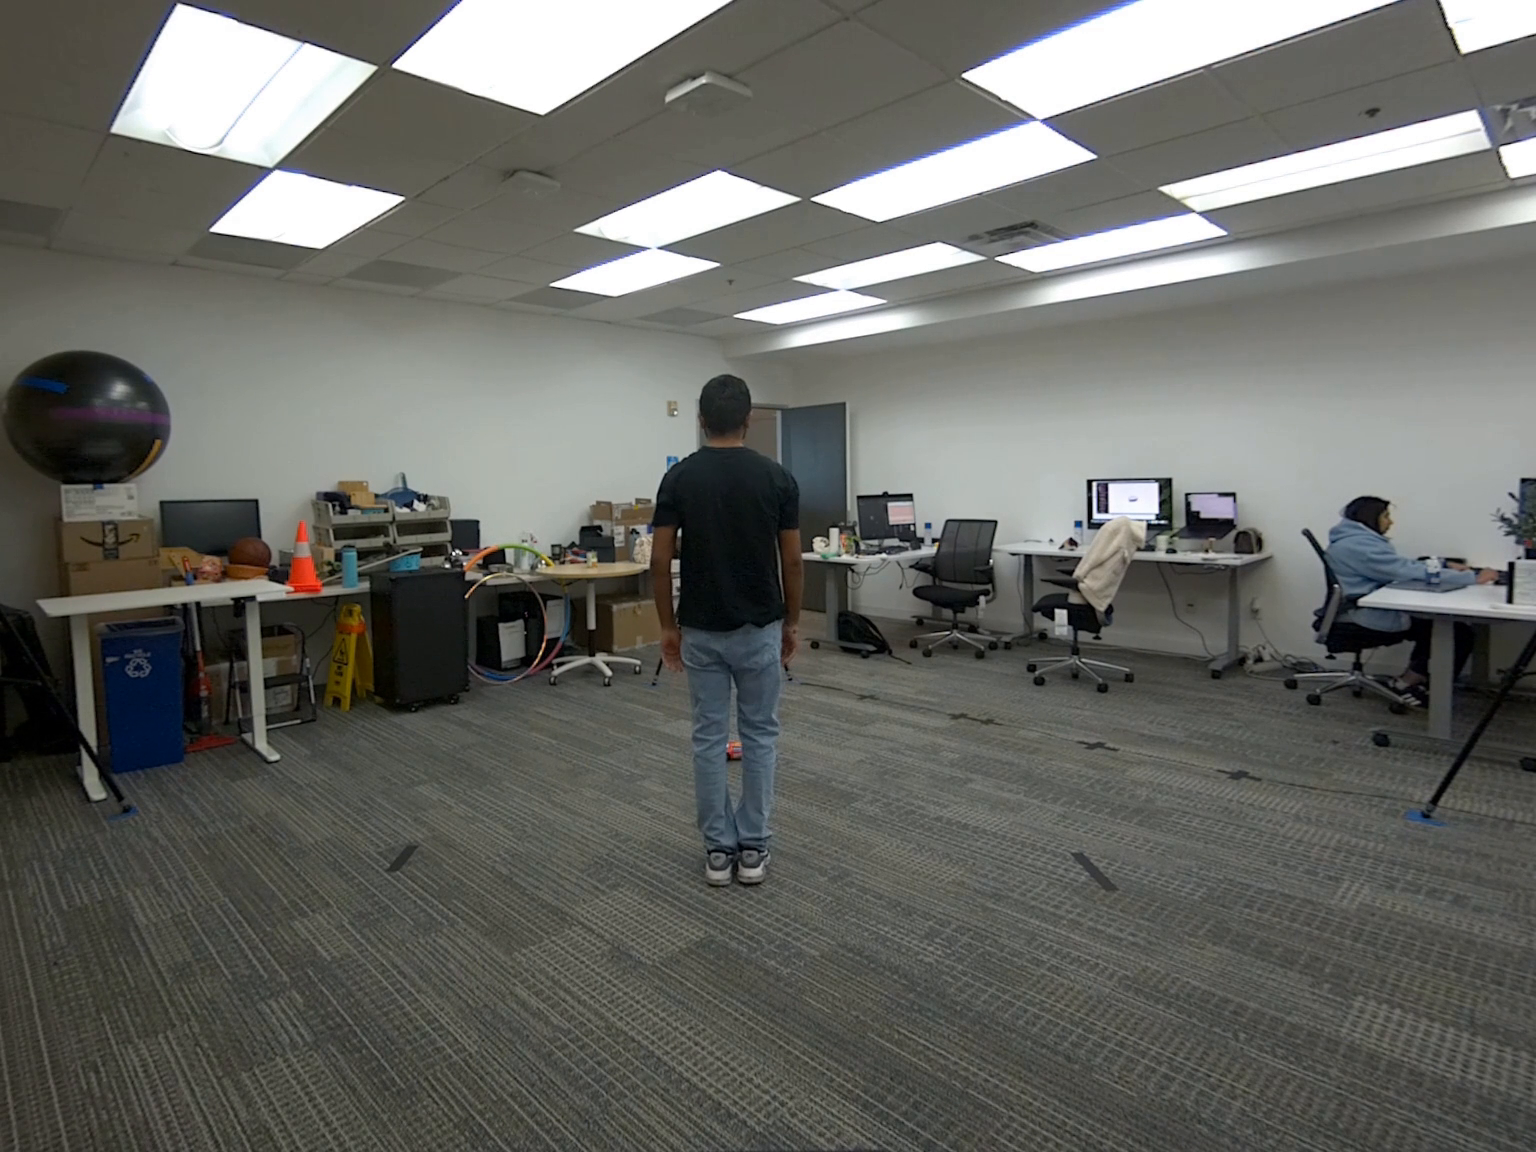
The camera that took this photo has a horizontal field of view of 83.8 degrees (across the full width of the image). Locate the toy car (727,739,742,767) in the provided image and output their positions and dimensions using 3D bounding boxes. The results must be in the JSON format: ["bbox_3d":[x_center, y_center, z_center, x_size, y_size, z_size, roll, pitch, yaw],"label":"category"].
[{"bbox_3d":[-0.154,0.885,4.295,0.255,0.083,0.131,9,5,0],"label":"toy car"}]
